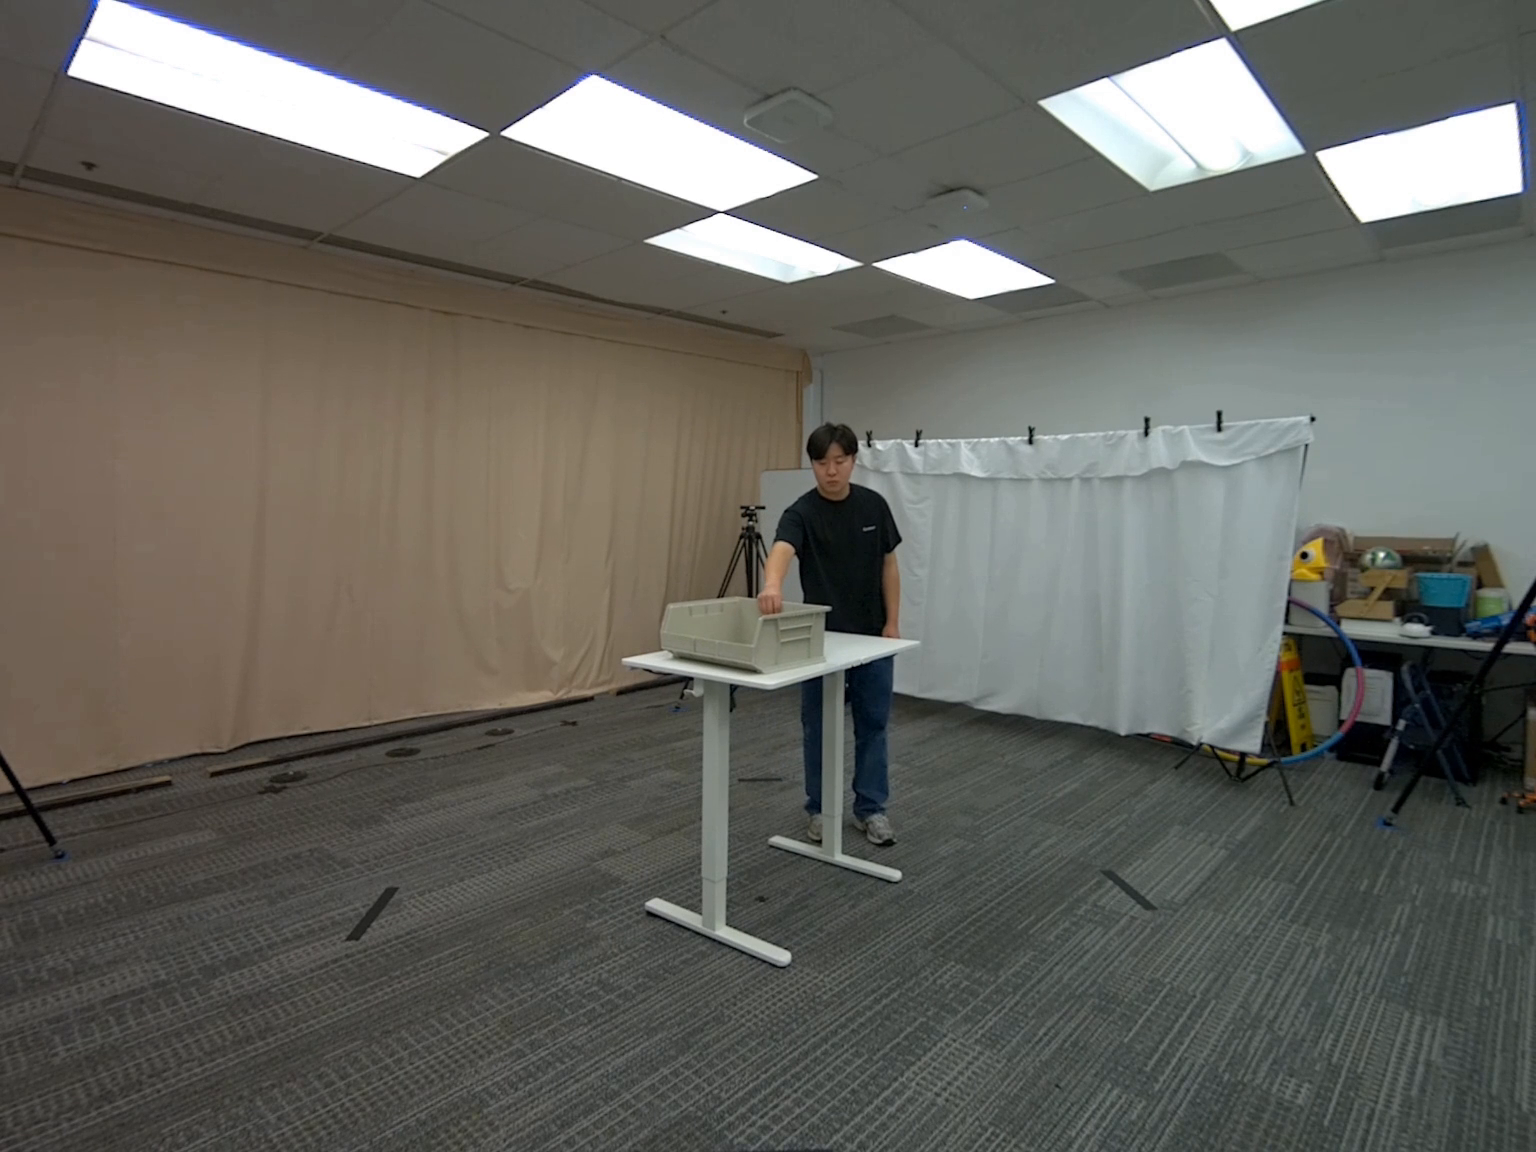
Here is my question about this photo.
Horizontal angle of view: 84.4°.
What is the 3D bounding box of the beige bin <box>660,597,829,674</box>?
[{"bbox_3d":[-0.070,0.191,2.766,0.436,0.189,0.365,4,4,43],"label":"beige bin"}]
